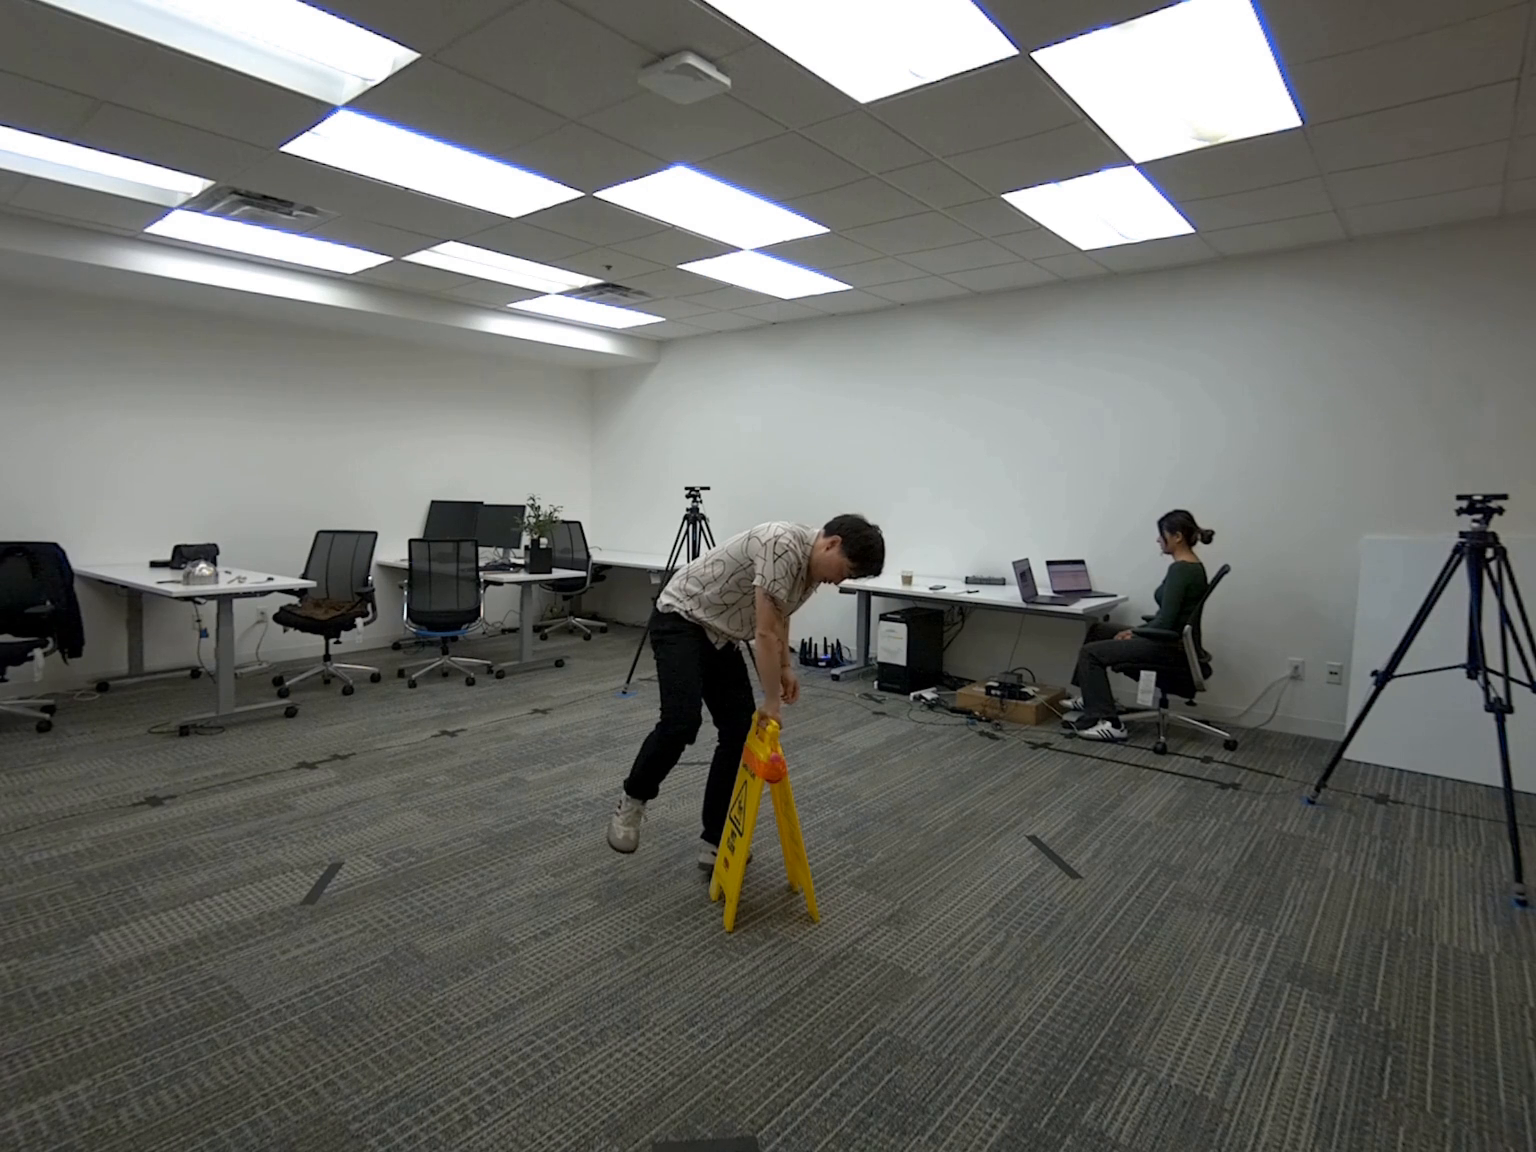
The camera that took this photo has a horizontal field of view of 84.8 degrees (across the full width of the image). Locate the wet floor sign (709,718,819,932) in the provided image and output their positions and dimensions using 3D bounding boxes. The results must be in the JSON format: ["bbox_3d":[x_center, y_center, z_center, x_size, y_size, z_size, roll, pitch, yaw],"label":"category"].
[{"bbox_3d":[-0.019,0.773,2.806,0.285,0.644,0.288,0,4,-16],"label":"wet floor sign"}]
